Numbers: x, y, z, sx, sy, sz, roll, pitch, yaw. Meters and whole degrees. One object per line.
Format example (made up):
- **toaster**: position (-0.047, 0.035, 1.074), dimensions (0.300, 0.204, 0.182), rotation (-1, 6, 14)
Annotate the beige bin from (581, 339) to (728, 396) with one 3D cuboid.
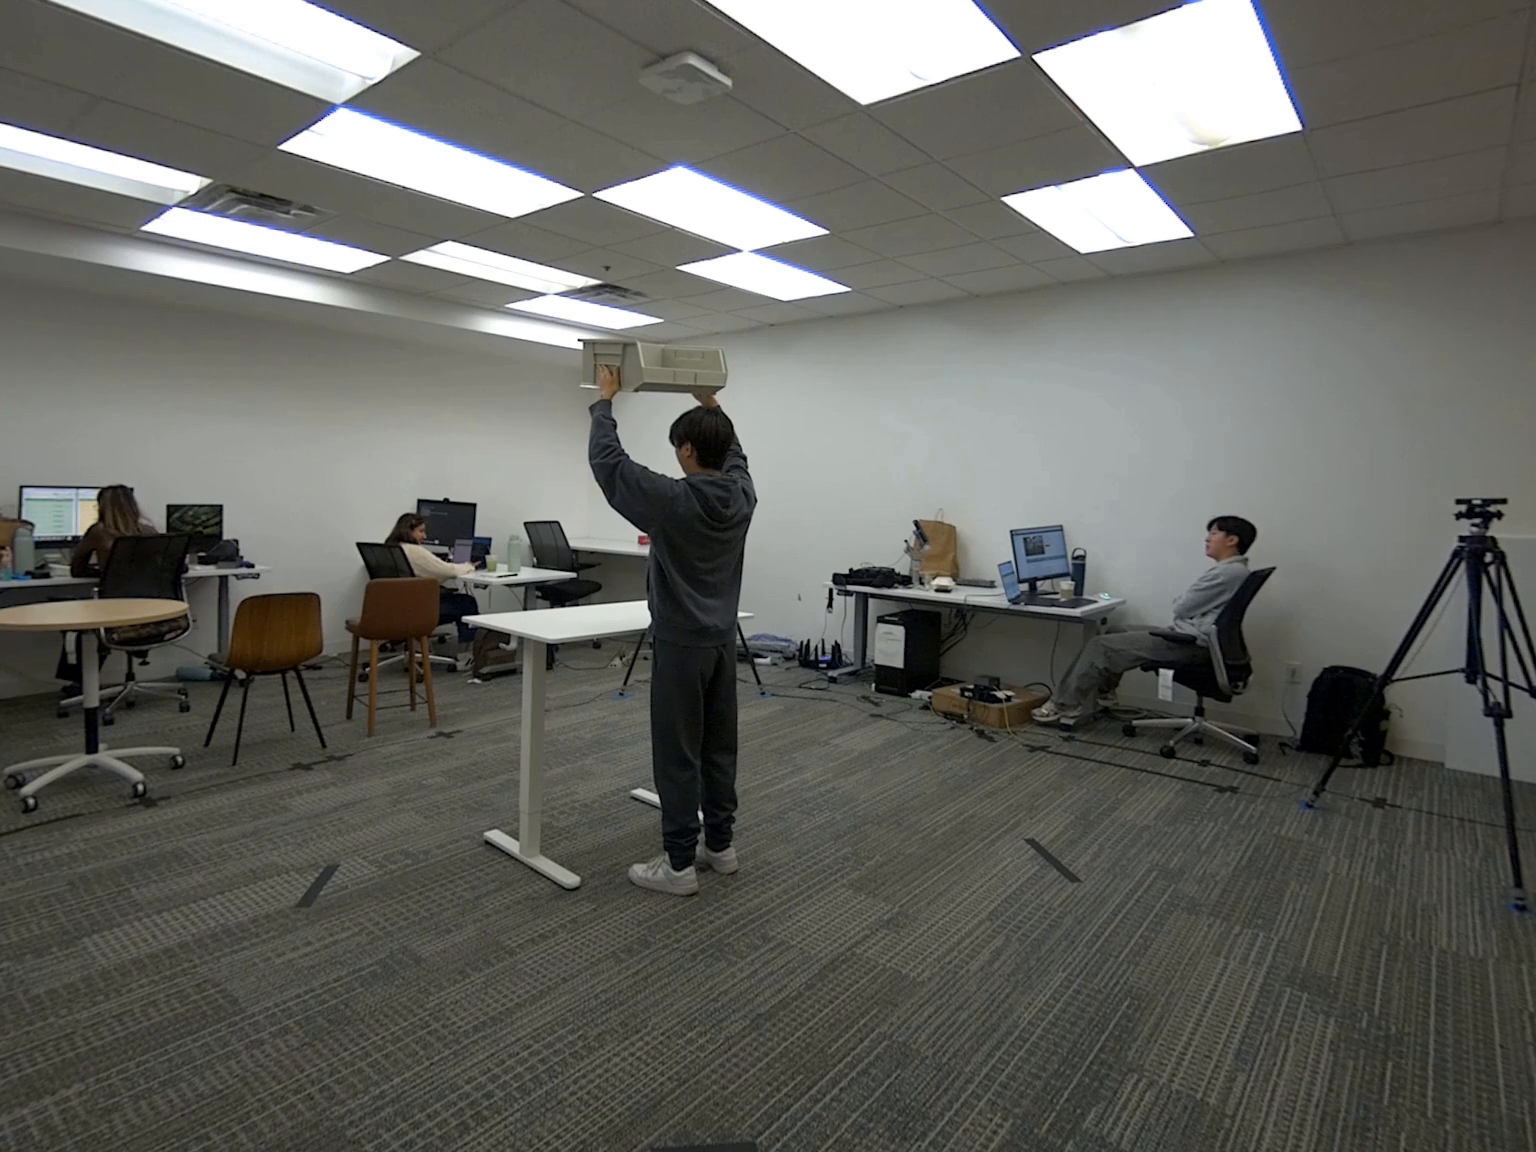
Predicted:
- **beige bin**: position (-0.439, -0.775, 3.158), dimensions (0.392, 0.187, 0.411), rotation (15, 17, 42)
